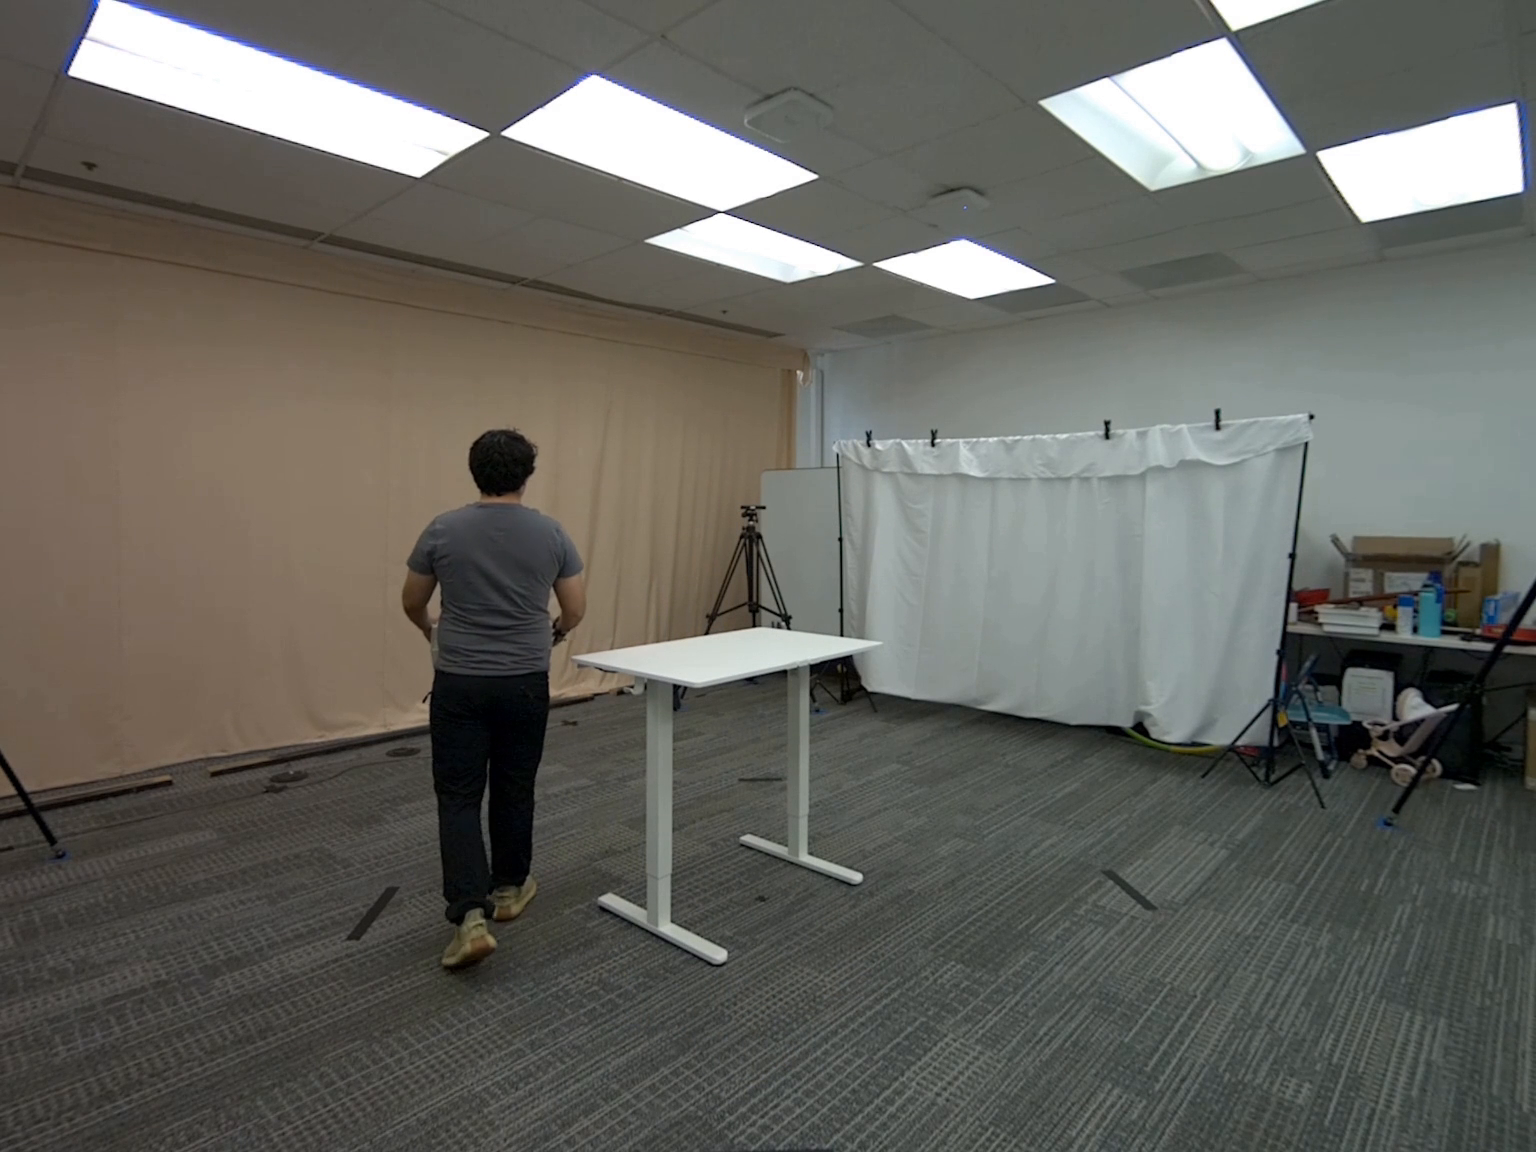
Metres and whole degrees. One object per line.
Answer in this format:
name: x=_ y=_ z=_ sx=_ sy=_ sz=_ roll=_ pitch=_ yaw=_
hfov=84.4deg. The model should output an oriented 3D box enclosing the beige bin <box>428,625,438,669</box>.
beige bin: x=-1.040 y=0.260 z=3.150 sx=0.417 sy=0.189 sz=0.381 roll=-3 pitch=-3 yaw=-13
